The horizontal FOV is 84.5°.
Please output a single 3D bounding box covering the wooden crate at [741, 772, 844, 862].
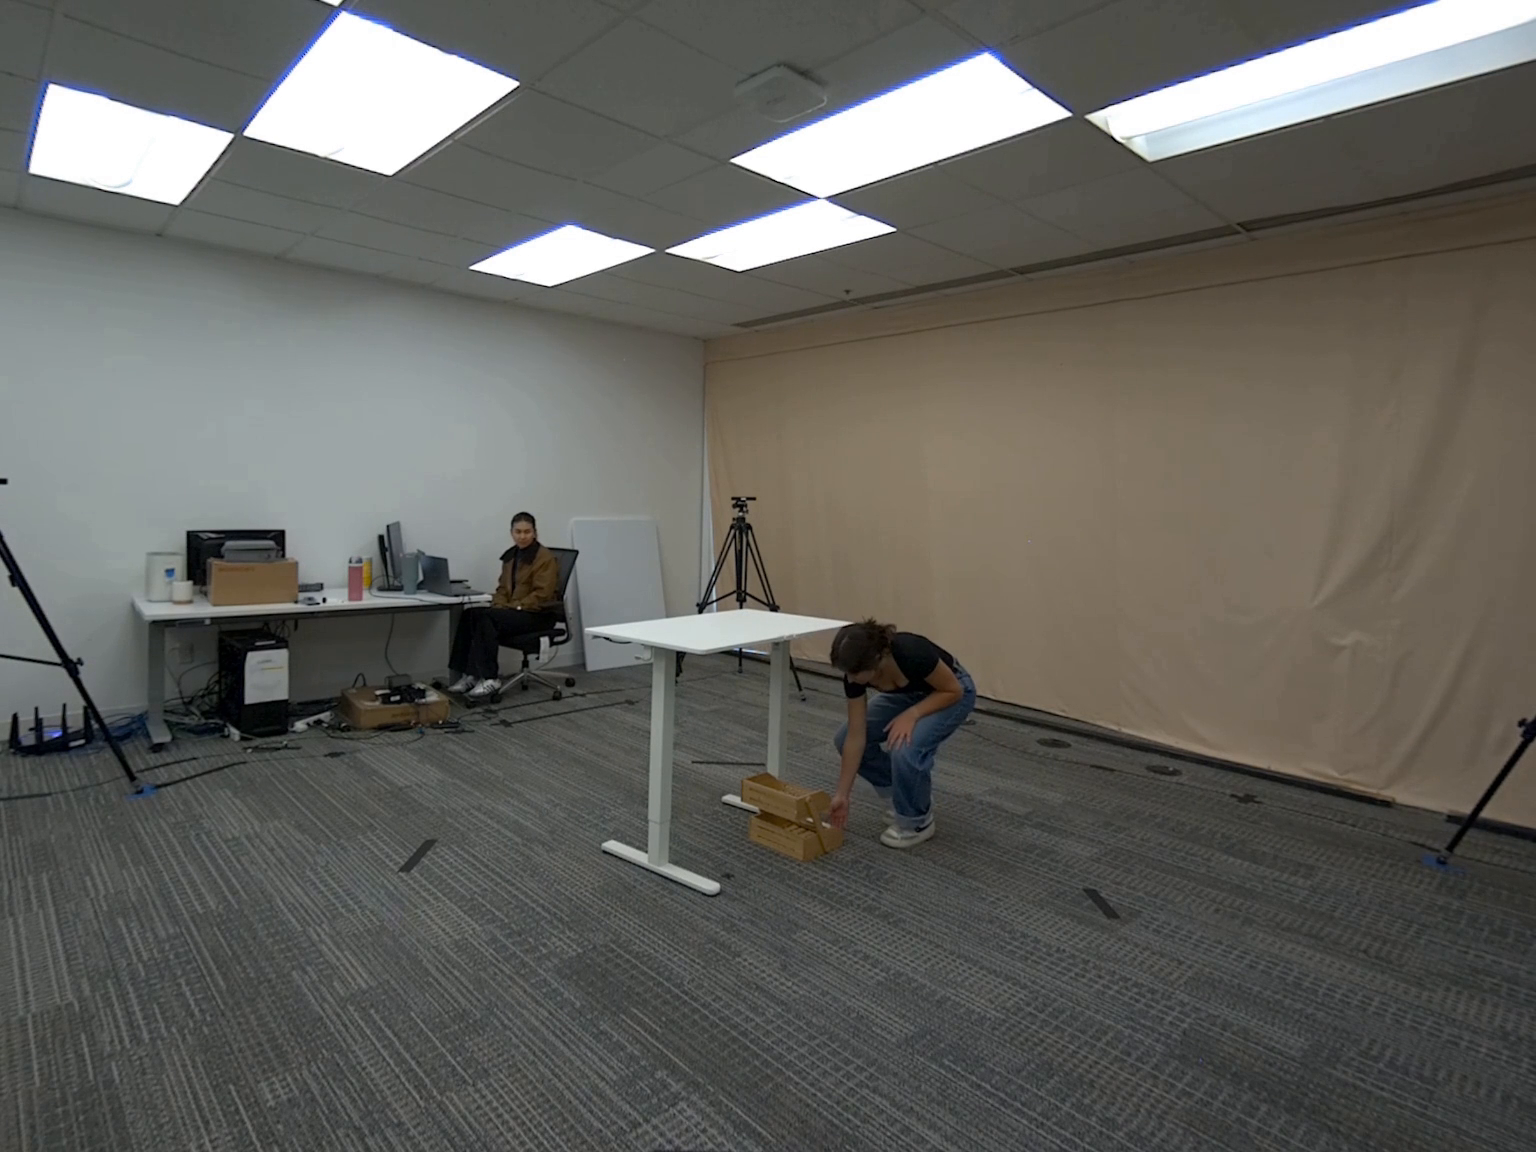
[{"bbox_3d":[0.095,0.952,3.407,0.333,0.272,0.295,5,6,43],"label":"wooden crate"}]
